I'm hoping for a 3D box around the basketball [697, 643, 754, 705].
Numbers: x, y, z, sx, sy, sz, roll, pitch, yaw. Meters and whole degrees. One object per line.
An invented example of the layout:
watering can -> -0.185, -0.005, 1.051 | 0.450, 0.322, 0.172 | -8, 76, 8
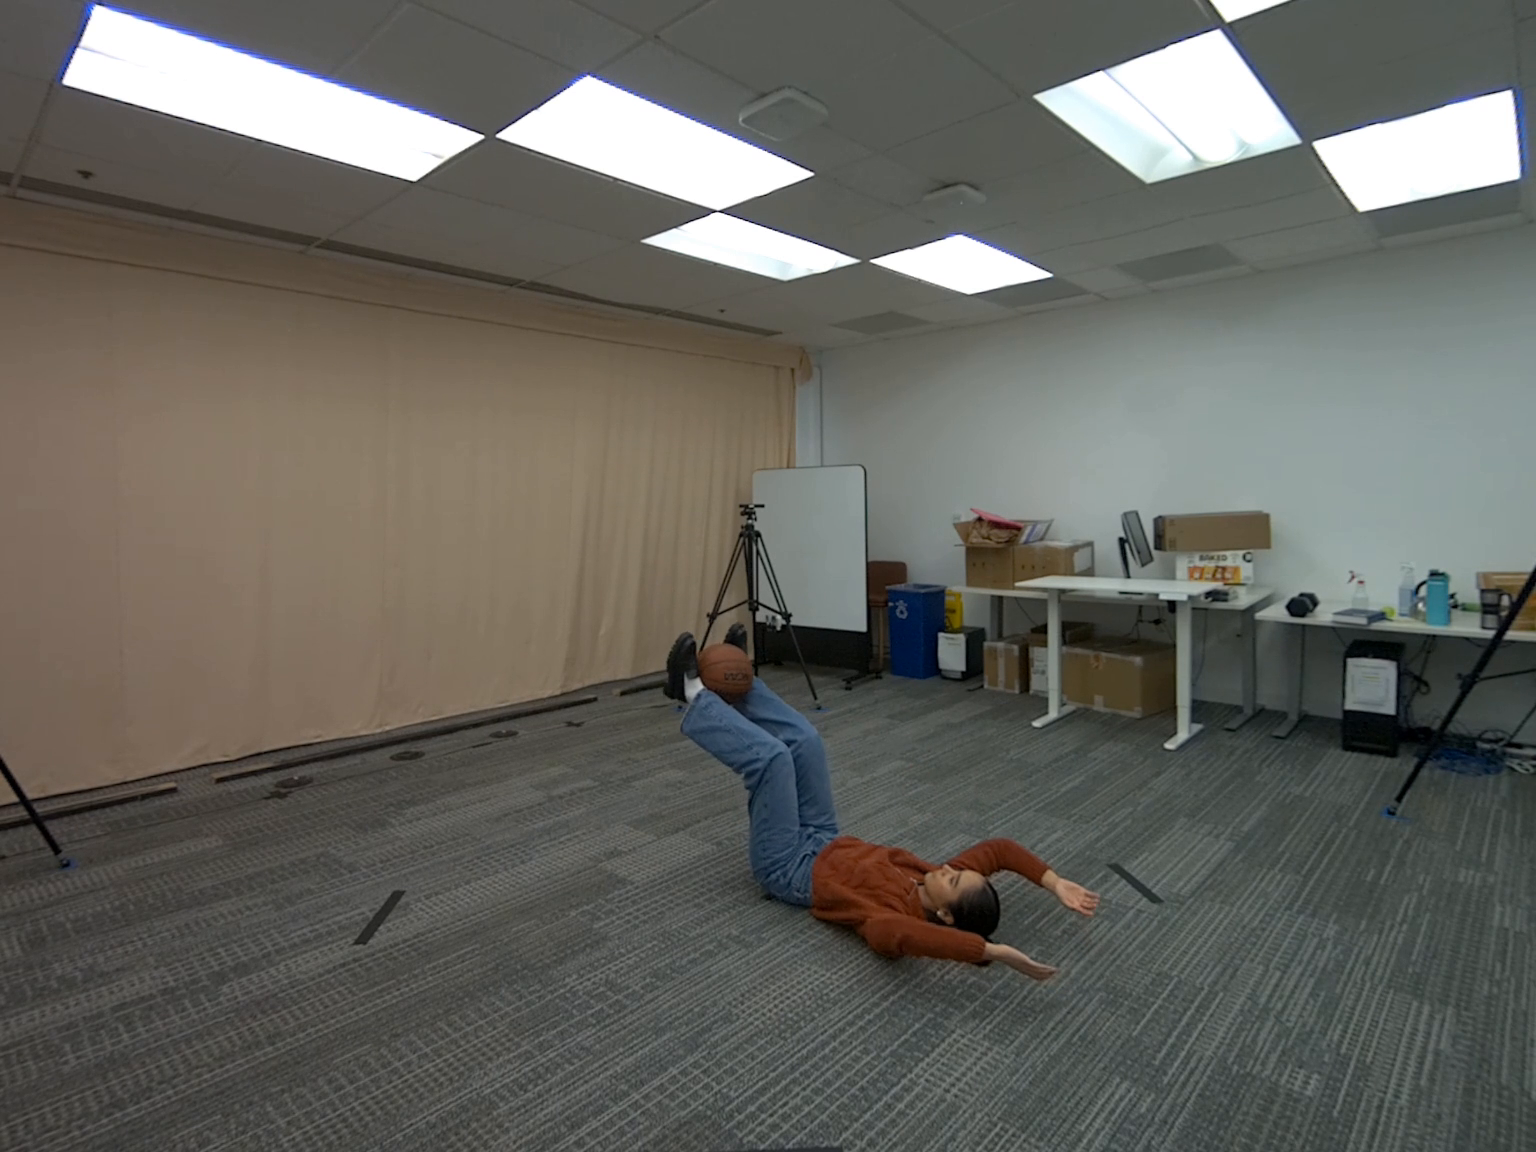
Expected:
basketball -> -0.179, 0.378, 3.213 | 0.235, 0.235, 0.237 | 2, 5, -2
